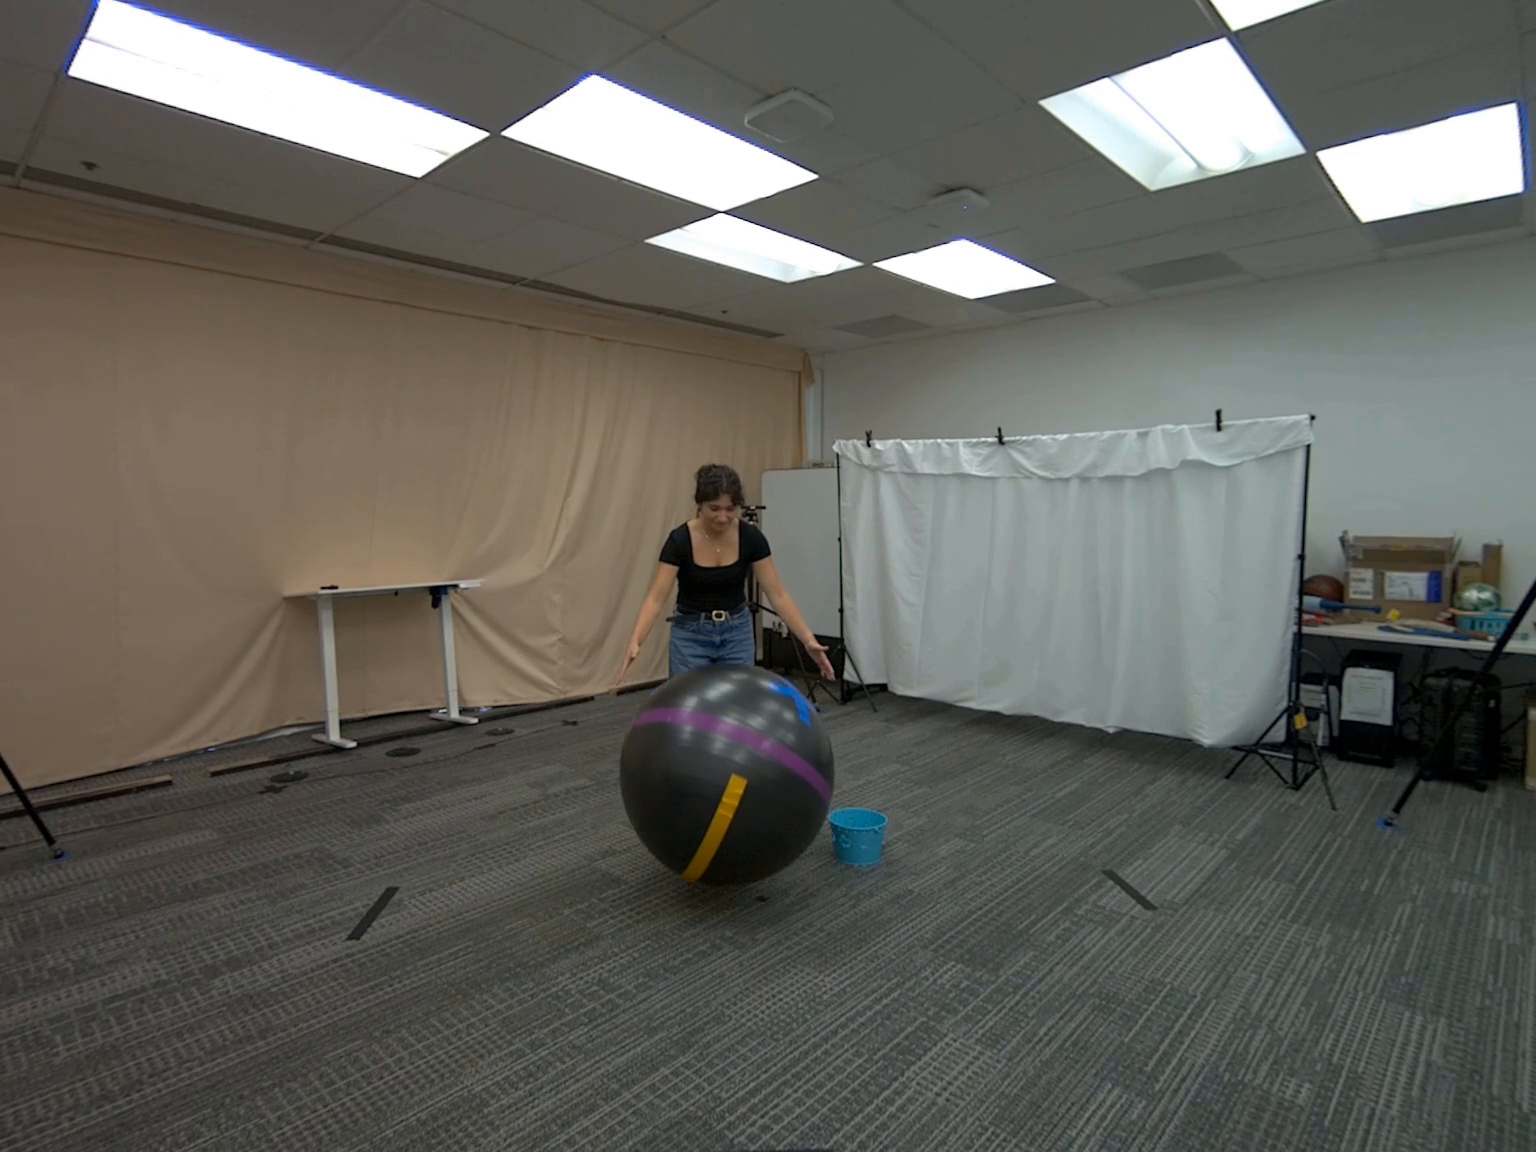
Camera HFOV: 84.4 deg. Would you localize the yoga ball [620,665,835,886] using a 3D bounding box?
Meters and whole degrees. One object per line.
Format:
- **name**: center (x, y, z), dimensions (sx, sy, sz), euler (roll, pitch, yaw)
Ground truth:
- **yoga ball**: center (-0.147, 0.677, 2.963), dimensions (0.757, 0.756, 0.760), euler (0, 4, -2)
